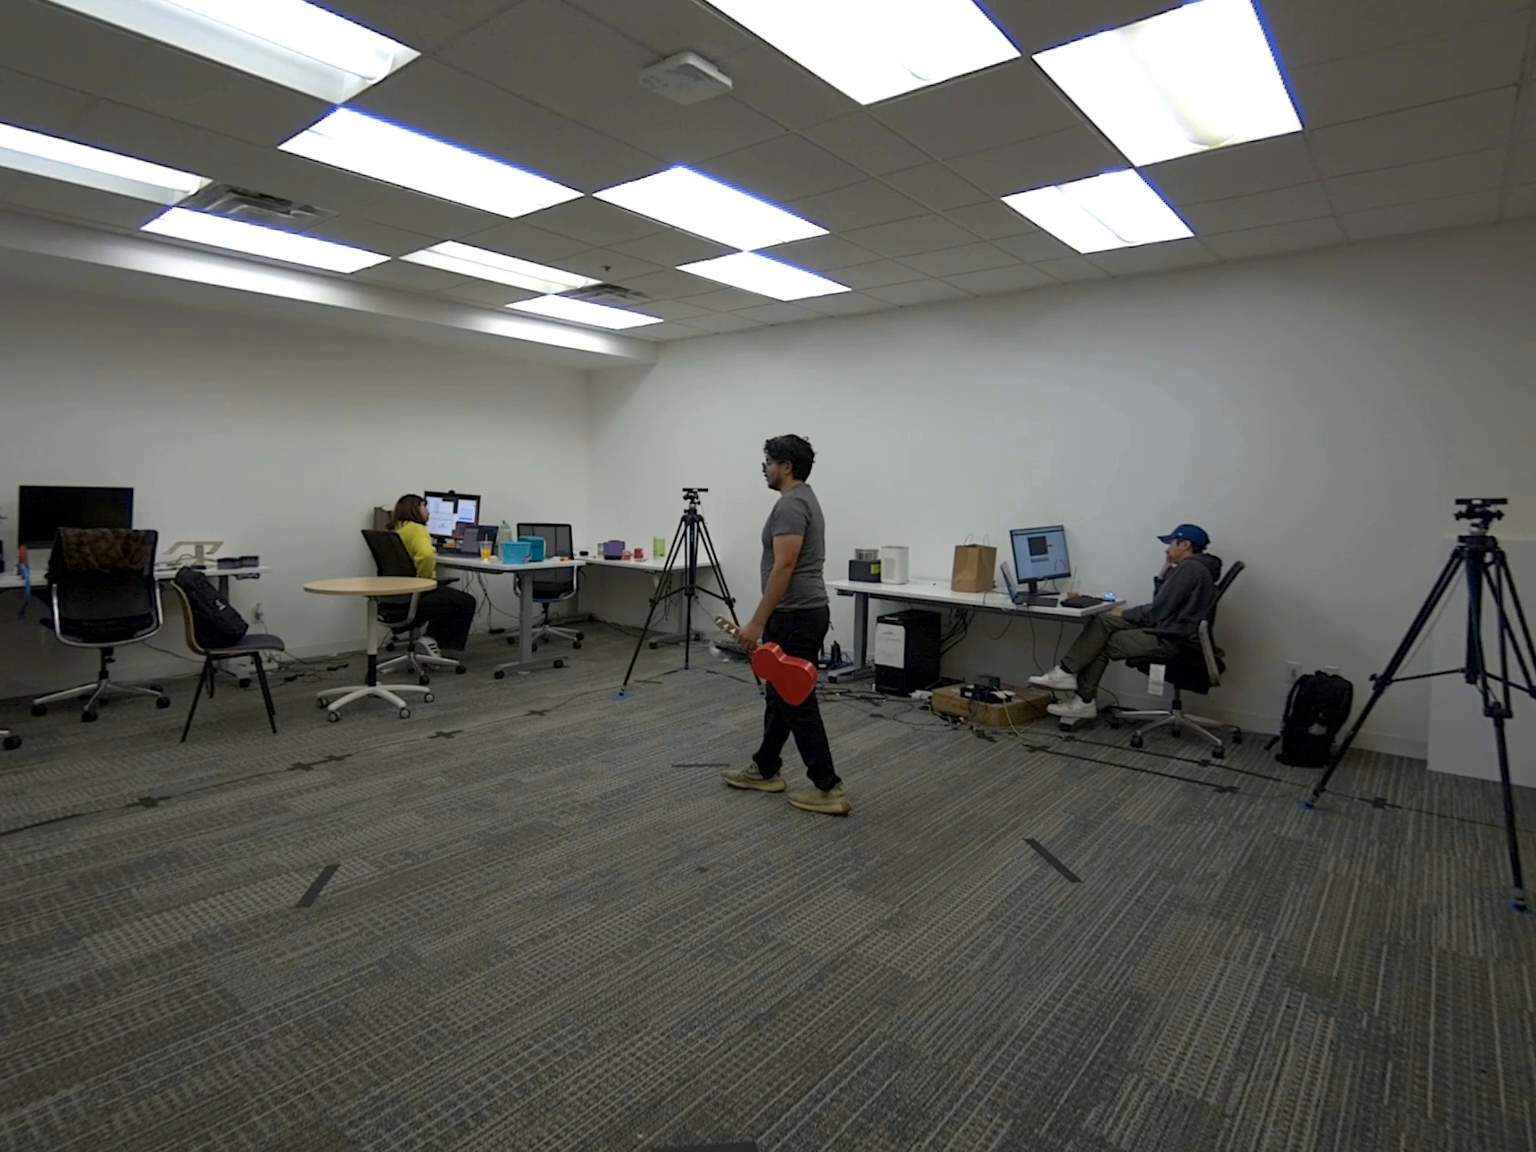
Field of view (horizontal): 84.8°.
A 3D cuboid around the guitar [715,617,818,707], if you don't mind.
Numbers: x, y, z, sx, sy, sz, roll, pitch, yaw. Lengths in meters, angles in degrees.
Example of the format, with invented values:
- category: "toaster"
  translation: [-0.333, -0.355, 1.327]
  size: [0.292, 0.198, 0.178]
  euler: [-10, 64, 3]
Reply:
- category: "guitar"
  translation: [-0.050, 0.340, 3.508]
  size: [0.511, 0.190, 0.070]
  euler: [27, 32, 20]
